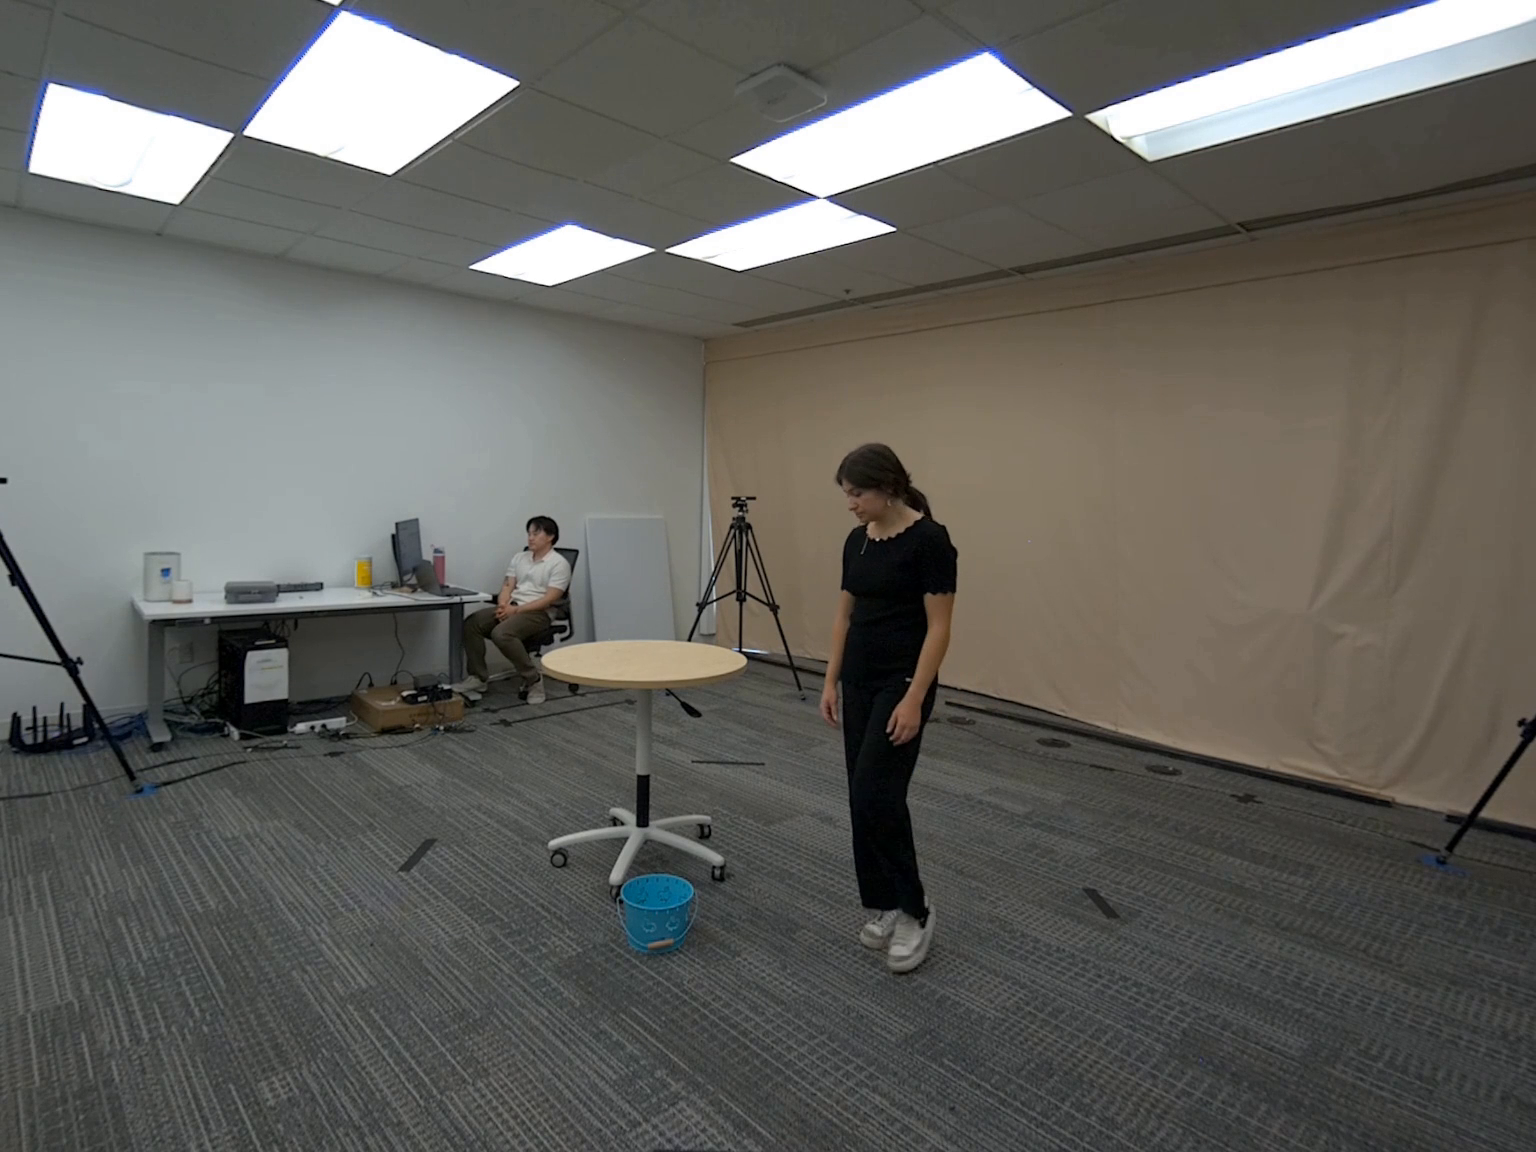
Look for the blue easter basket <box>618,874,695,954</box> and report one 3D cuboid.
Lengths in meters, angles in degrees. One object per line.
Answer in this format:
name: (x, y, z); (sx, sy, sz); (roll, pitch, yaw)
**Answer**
blue easter basket: (-0.352, 1.059, 2.662); (0.243, 0.155, 0.244); (1, 4, -1)
